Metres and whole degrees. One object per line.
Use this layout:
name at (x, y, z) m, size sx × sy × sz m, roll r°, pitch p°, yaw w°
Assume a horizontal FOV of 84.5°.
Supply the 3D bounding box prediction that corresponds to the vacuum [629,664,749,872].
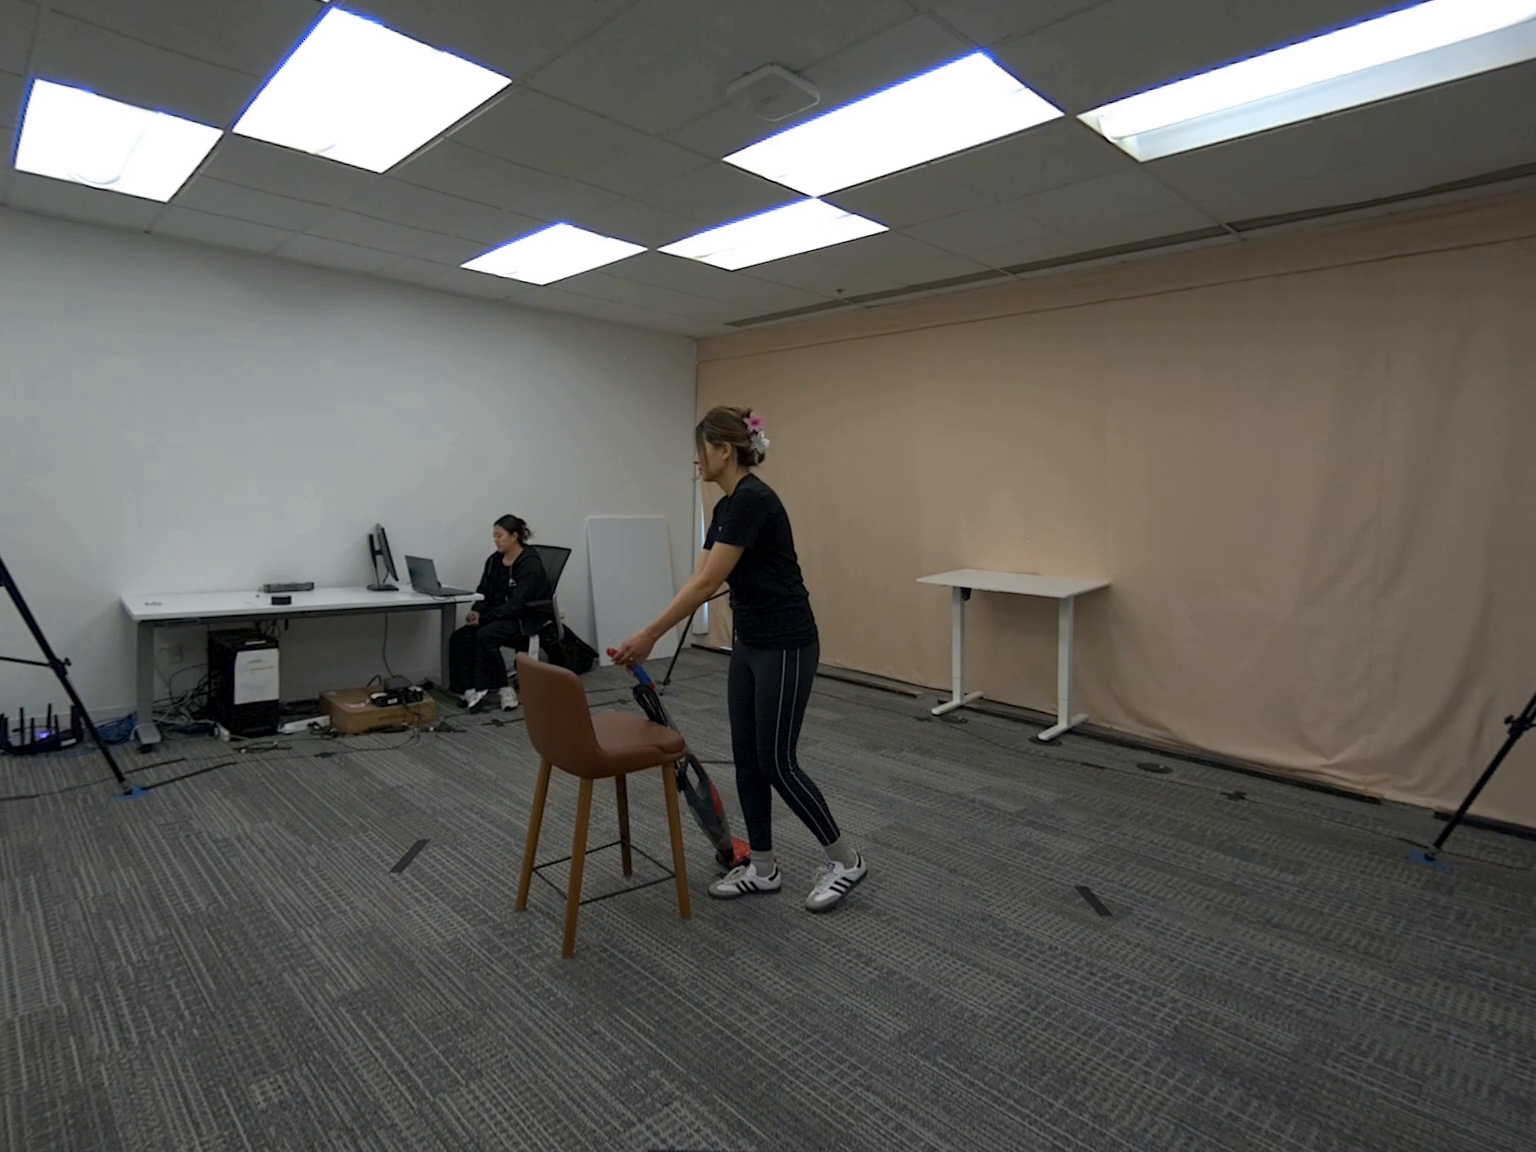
vacuum at (-0.322, 0.664, 2.999) m, size 0.258 × 1.025 × 0.144 m, roll 1°, pitch 37°, yaw 46°
